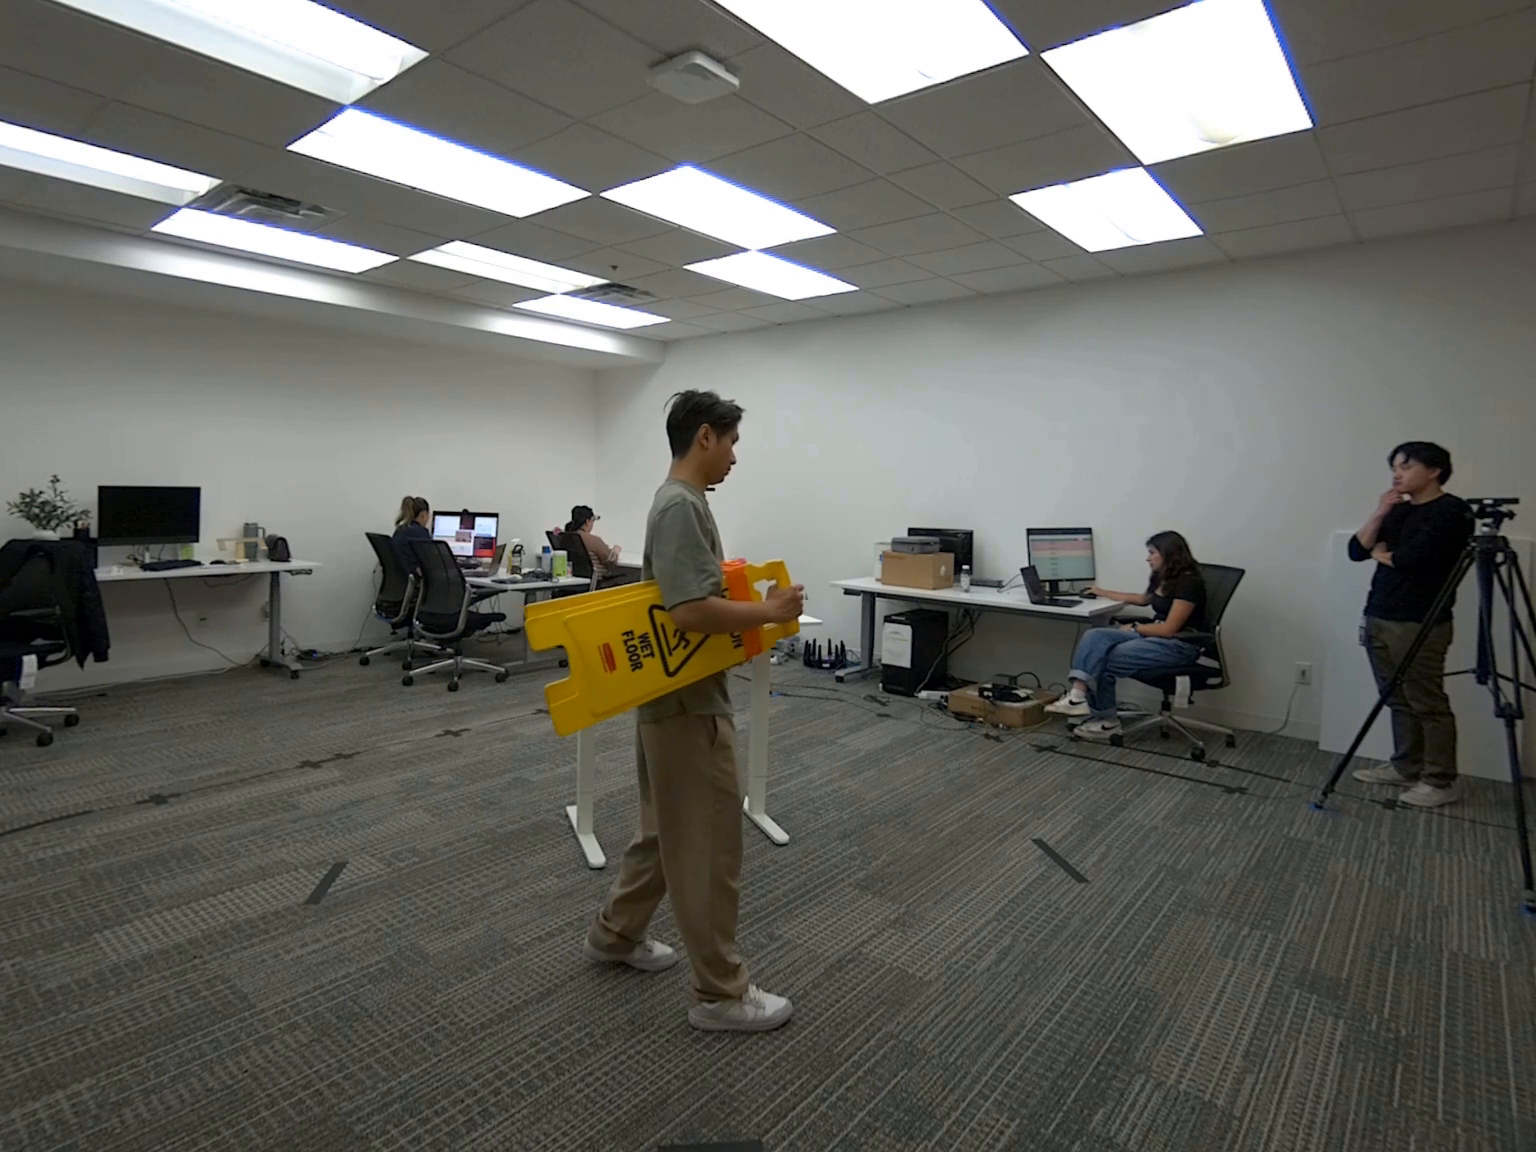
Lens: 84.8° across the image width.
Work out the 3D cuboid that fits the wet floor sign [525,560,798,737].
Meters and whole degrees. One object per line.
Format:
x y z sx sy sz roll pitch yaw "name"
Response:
-0.249 0.142 2.081 0.640 0.280 0.295 -17 9 -13 "wet floor sign"
